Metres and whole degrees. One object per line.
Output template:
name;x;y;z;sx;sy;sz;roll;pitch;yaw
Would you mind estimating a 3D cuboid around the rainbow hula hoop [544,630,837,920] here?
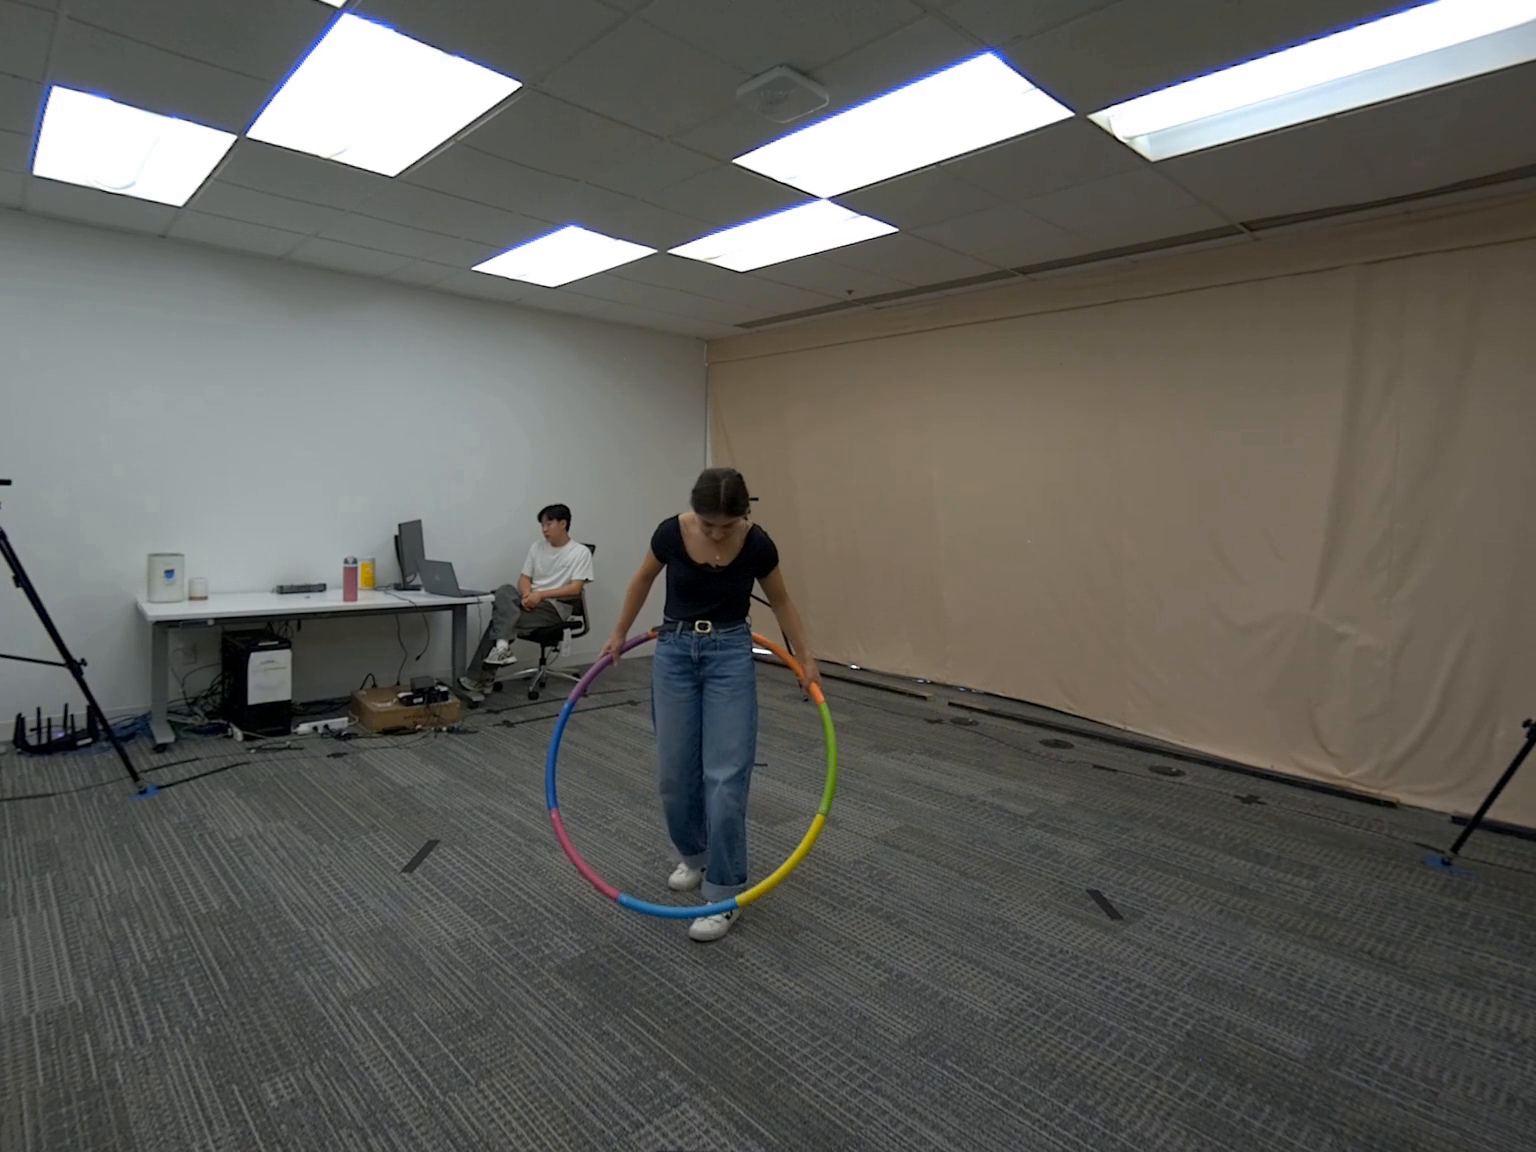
rainbow hula hoop;-0.268;0.600;2.784;0.988;0.994;0.034;2;-32;11
